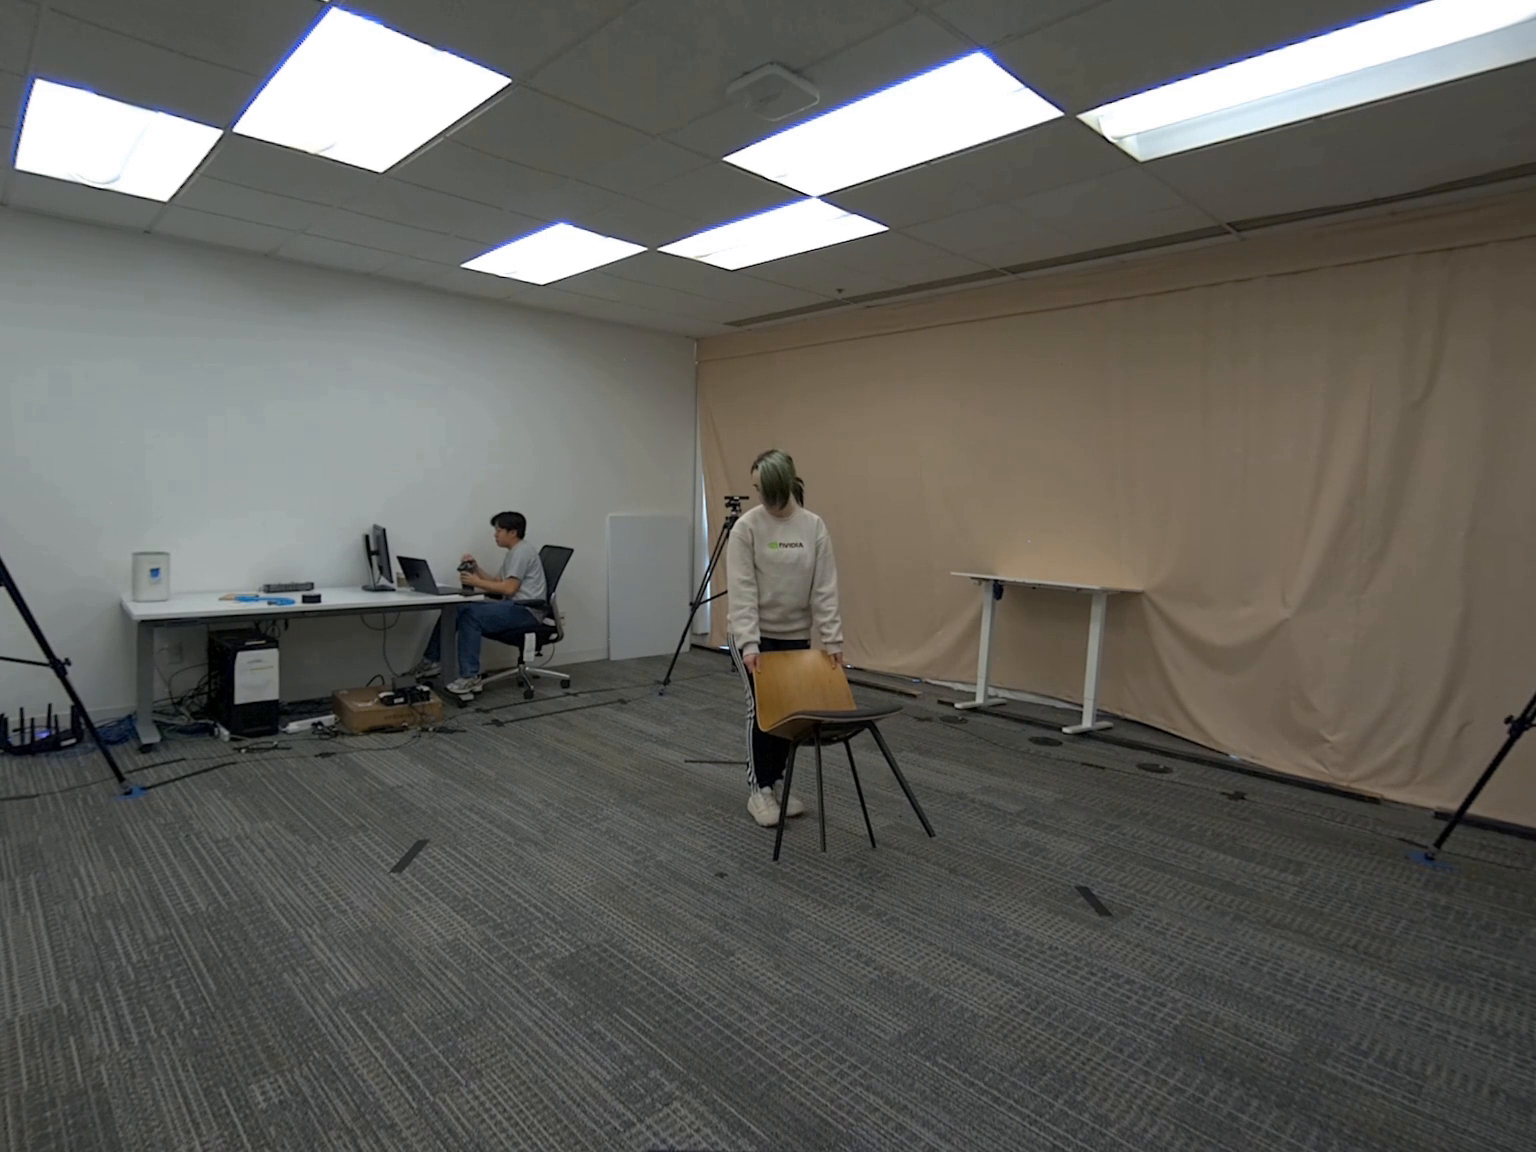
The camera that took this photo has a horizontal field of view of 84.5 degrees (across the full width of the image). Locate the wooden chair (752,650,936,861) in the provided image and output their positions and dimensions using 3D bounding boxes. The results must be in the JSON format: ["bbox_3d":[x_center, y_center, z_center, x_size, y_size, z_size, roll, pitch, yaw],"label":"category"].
[{"bbox_3d":[0.238,0.612,3.251,0.470,0.895,0.521,0,-27,-23],"label":"wooden chair"}]
